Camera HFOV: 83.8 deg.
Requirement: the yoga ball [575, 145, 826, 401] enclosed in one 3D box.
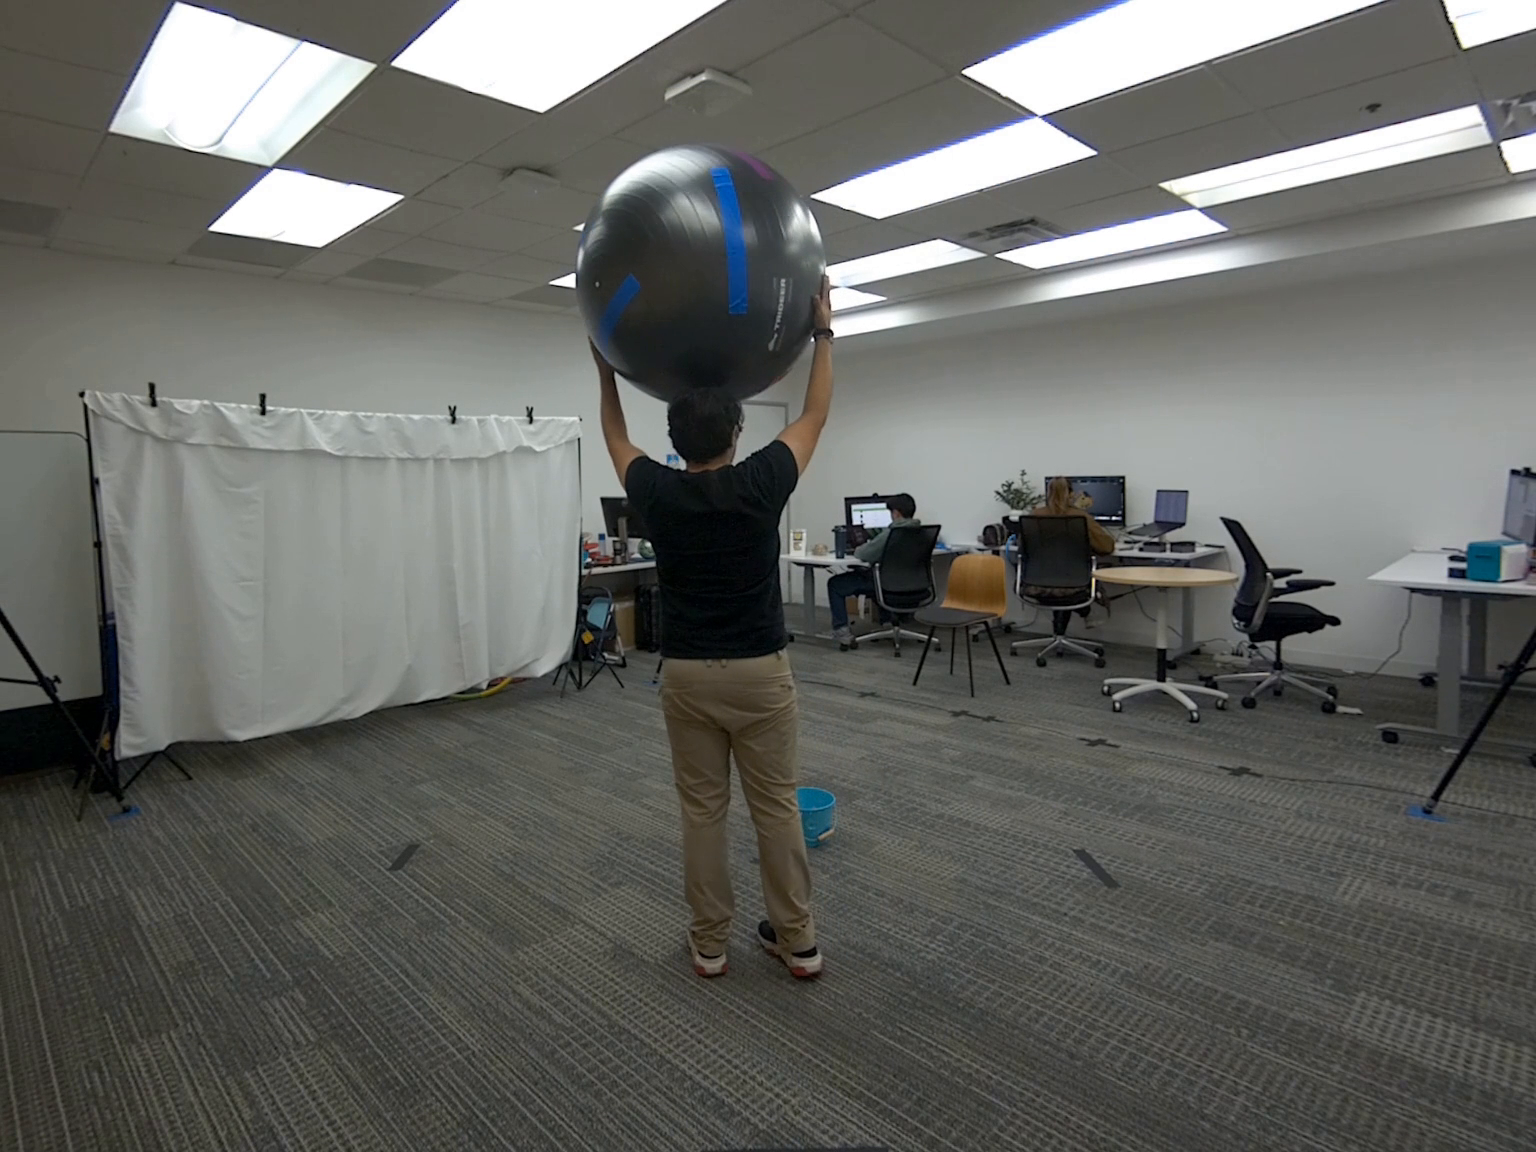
[{"bbox_3d":[-0.196,-0.888,2.589,0.757,0.755,0.762,-1,5,-2],"label":"yoga ball"}]
